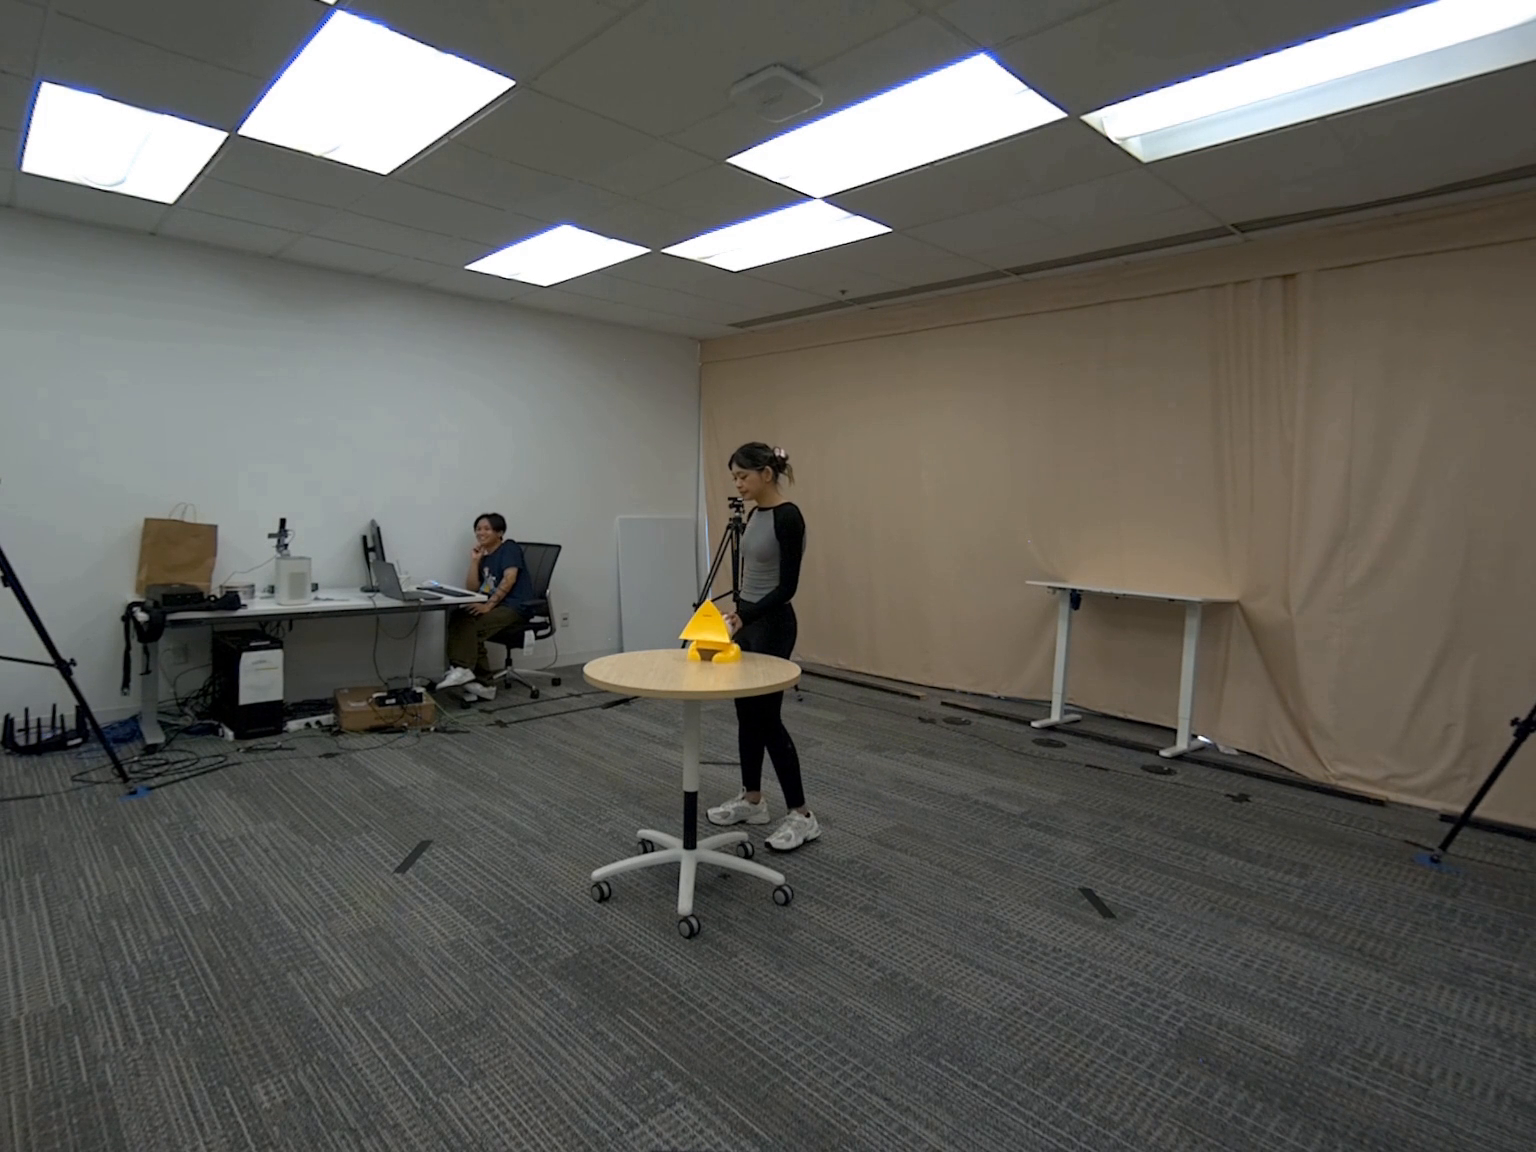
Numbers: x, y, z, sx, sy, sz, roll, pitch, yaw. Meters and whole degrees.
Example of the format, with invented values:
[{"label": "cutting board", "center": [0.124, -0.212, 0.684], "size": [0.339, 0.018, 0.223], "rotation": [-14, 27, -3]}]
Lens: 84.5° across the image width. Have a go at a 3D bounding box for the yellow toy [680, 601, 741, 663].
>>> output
[{"label": "yellow toy", "center": [-0.212, 0.196, 3.162], "size": [0.208, 0.230, 0.190], "rotation": [3, 4, 21]}]
